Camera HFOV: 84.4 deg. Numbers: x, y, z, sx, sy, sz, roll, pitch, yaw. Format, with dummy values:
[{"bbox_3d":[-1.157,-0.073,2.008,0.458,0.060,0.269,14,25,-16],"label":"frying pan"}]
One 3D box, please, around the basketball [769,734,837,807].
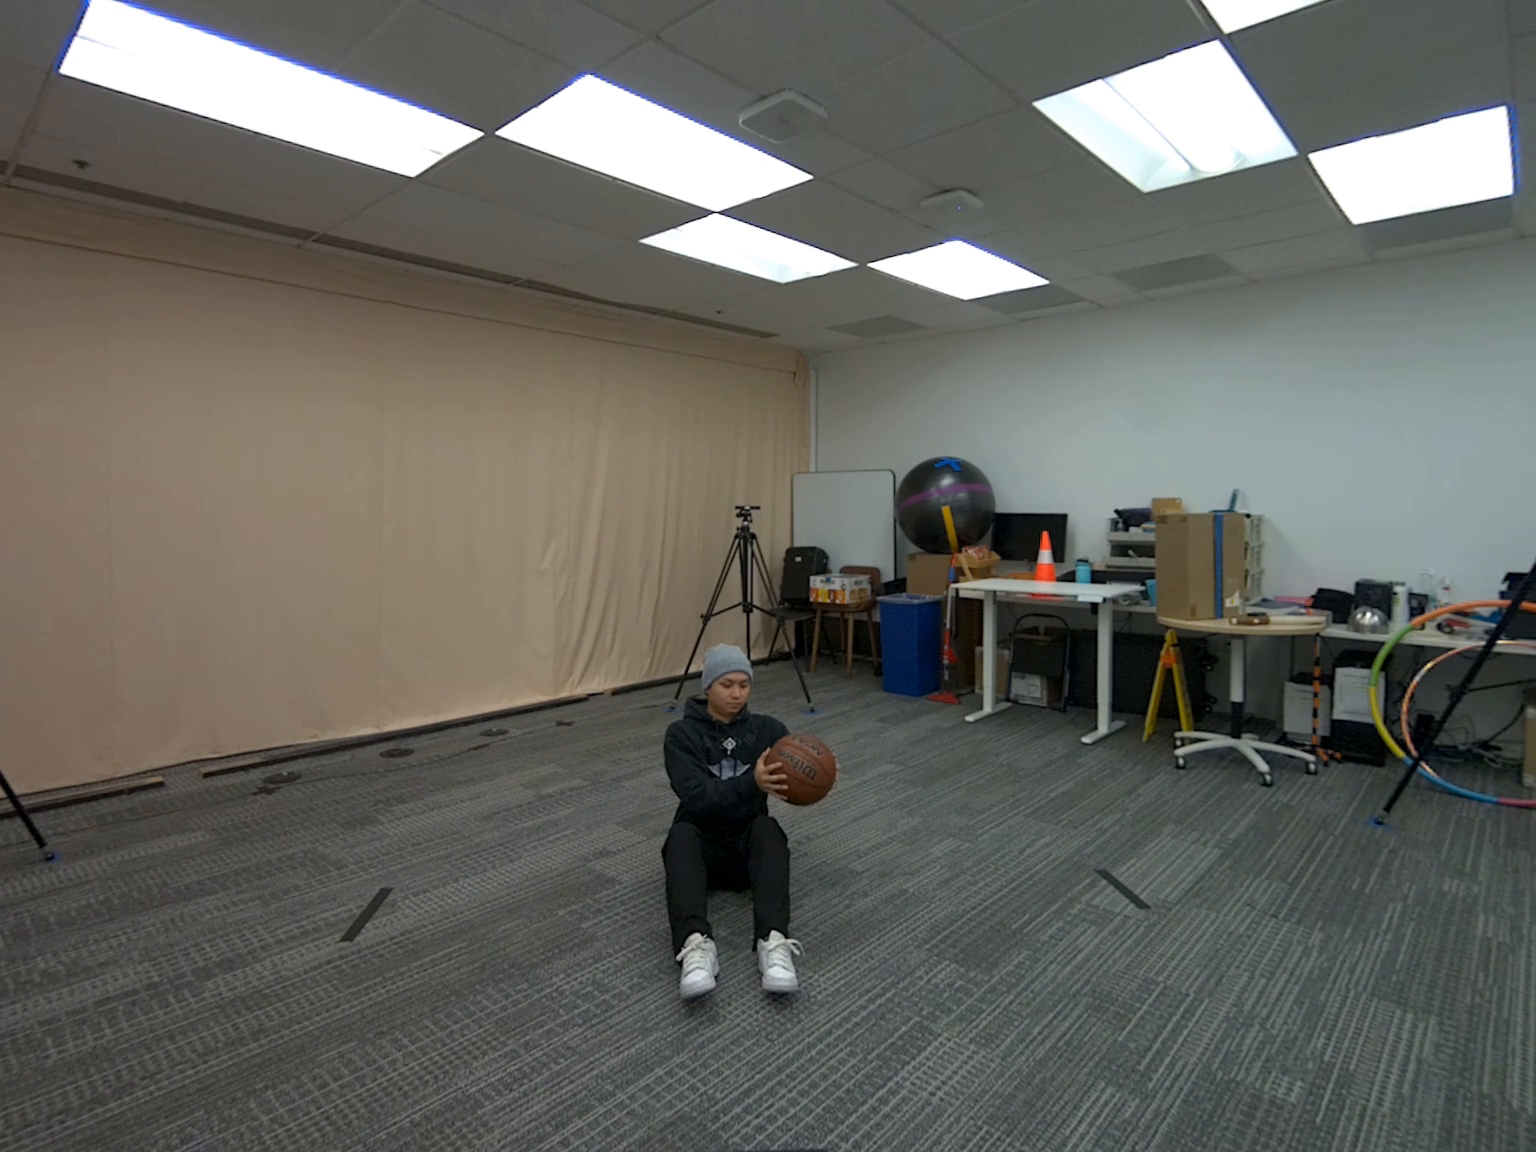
[{"bbox_3d":[0.110,0.654,2.854,0.236,0.235,0.237,0,4,-2],"label":"basketball"}]
